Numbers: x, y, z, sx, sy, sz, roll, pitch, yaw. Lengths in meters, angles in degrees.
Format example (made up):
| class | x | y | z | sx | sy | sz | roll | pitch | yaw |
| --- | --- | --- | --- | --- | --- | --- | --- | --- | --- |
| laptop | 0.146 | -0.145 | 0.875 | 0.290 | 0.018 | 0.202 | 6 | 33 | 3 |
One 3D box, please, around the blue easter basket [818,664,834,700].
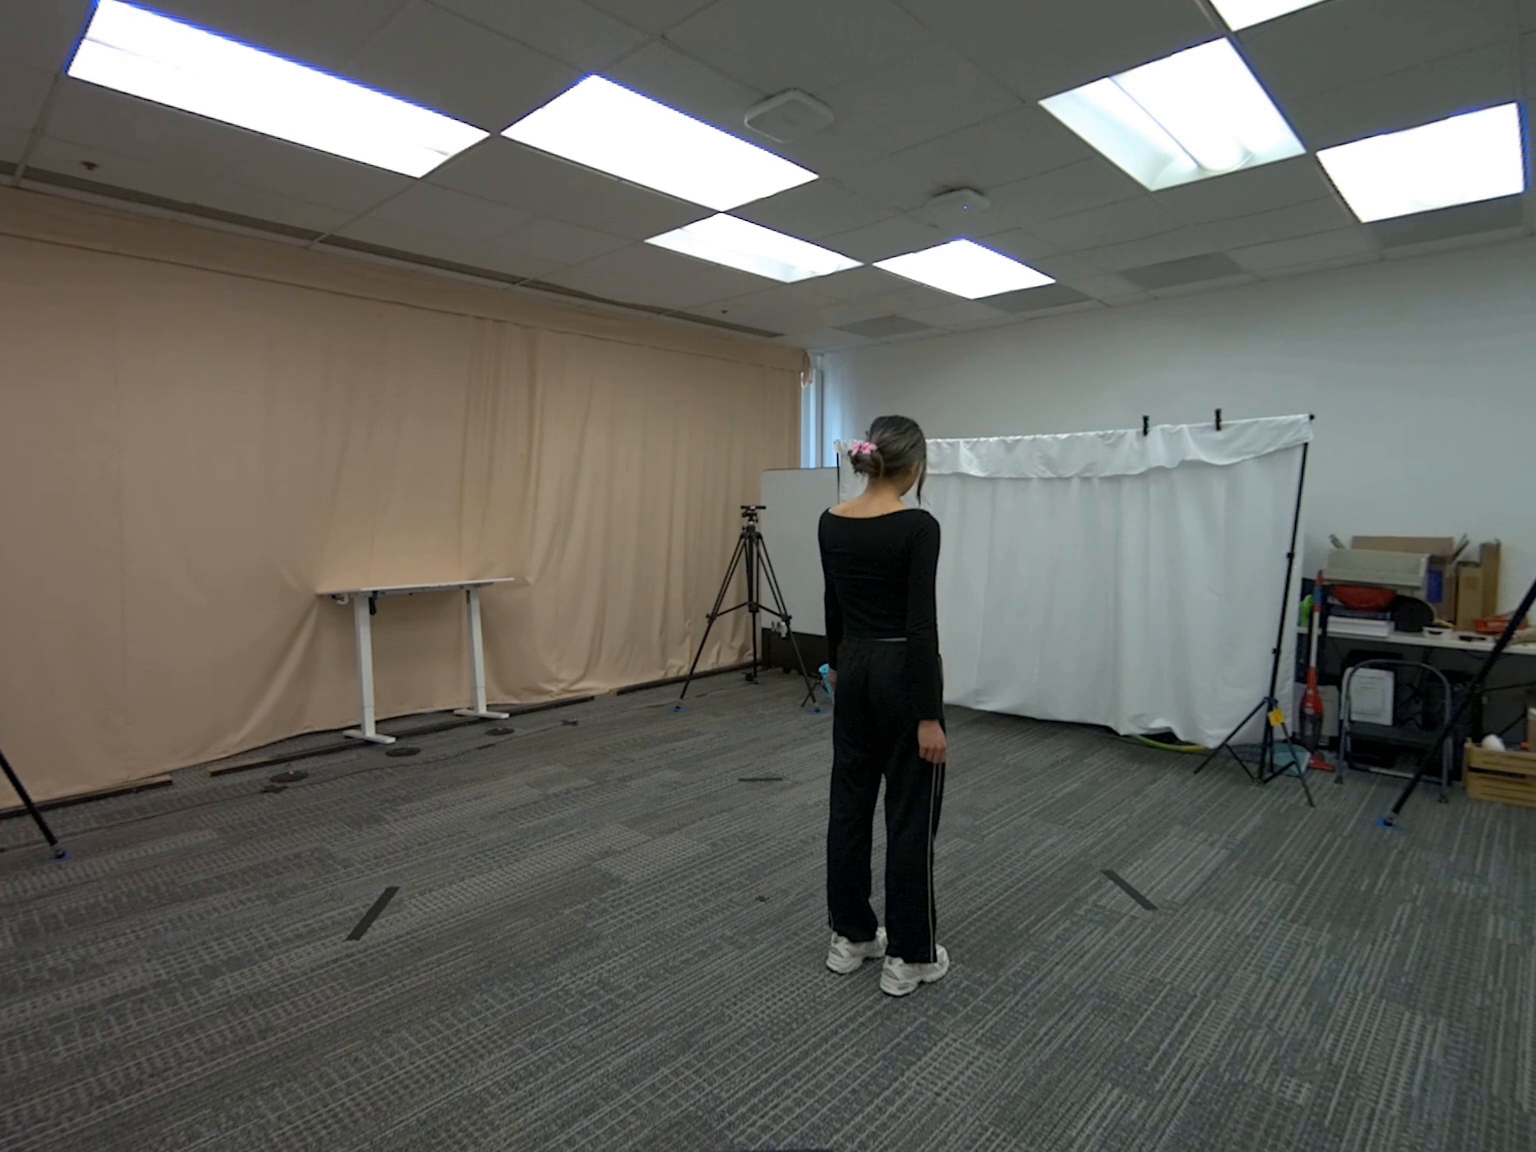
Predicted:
| class | x | y | z | sx | sy | sz | roll | pitch | yaw |
| --- | --- | --- | --- | --- | --- | --- | --- | --- | --- |
| blue easter basket | 0.310 | 0.379 | 2.982 | 0.243 | 0.155 | 0.244 | -11 | 3 | -1 |
